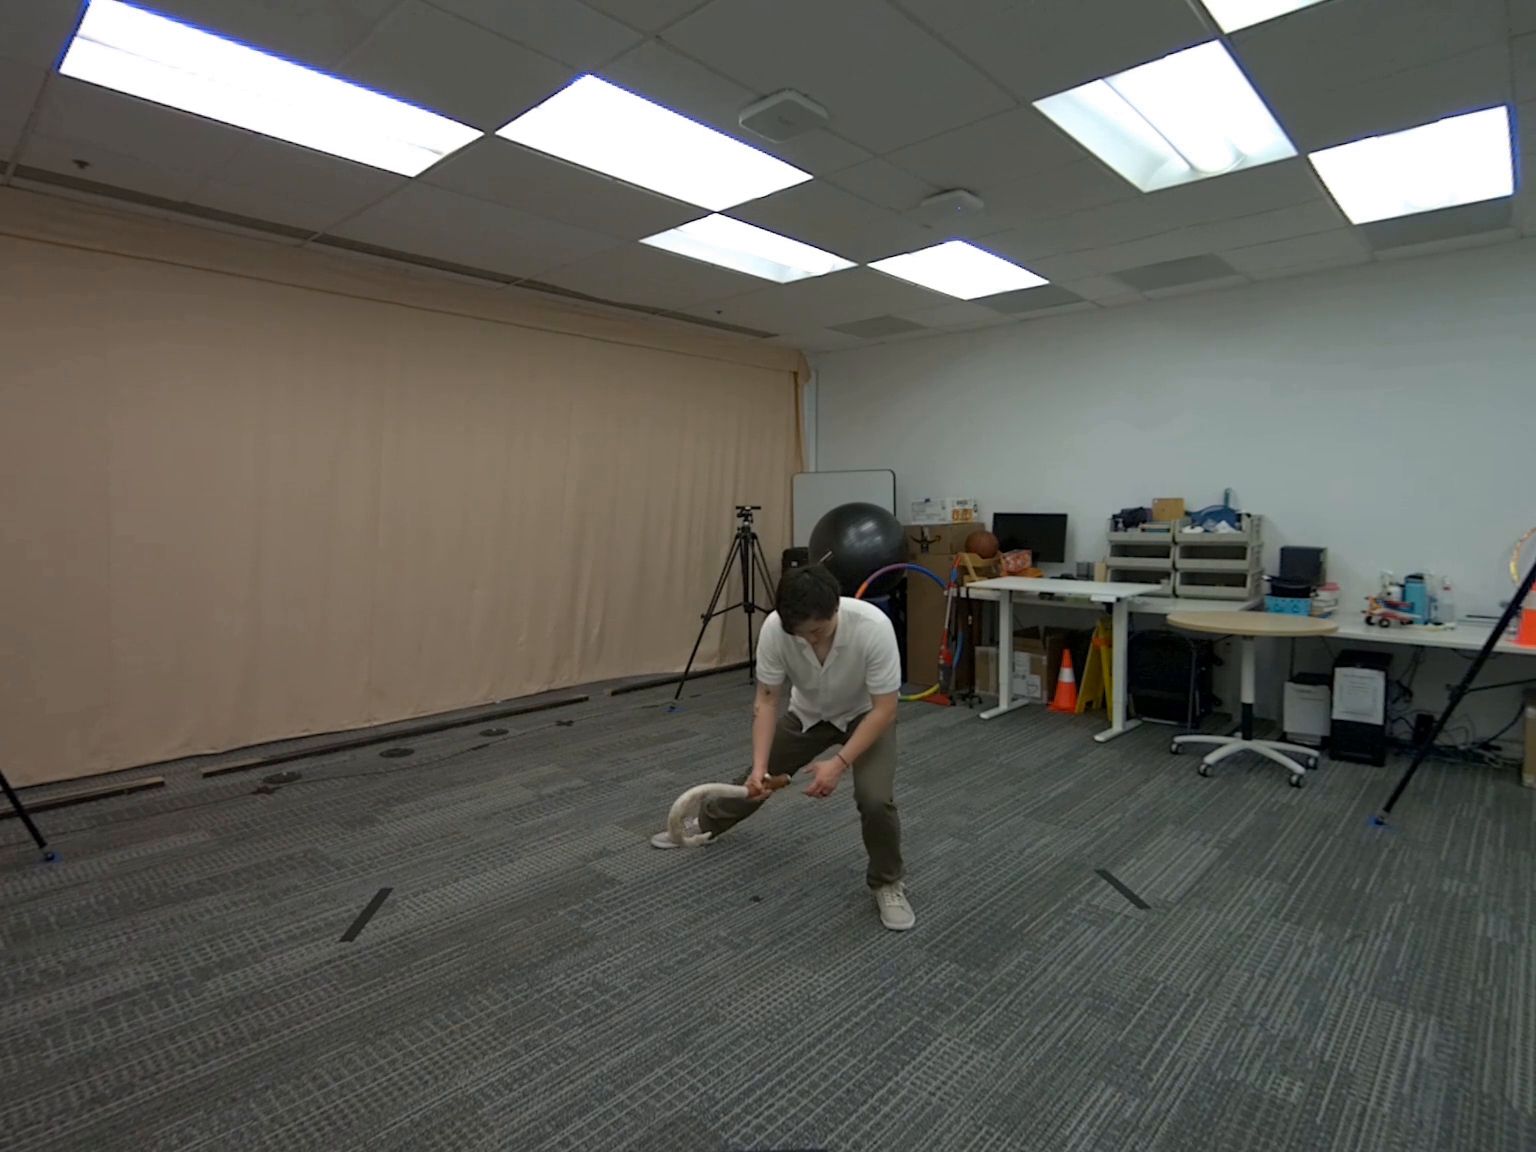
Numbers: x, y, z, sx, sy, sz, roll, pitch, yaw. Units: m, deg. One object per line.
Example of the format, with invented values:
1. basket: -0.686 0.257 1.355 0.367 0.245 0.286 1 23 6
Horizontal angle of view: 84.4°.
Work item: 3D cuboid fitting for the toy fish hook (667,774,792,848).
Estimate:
1. toy fish hook: -0.121 0.754 2.733 0.491 0.223 0.050 -1 24 -40
